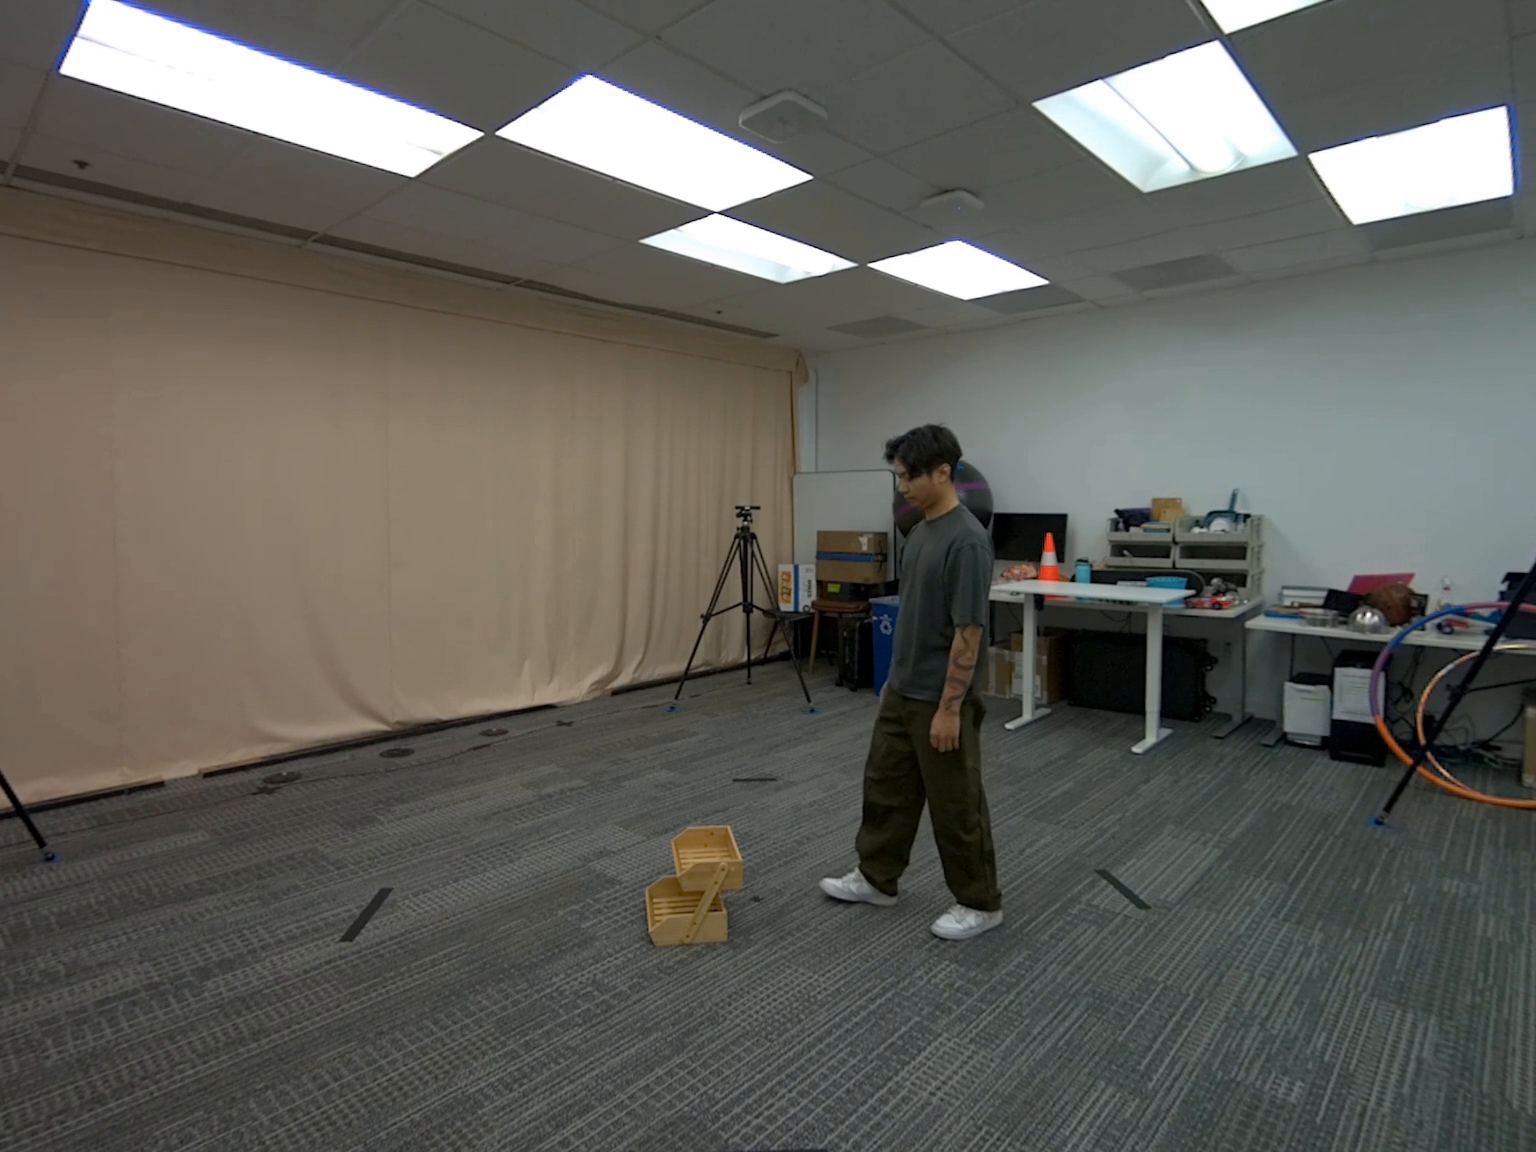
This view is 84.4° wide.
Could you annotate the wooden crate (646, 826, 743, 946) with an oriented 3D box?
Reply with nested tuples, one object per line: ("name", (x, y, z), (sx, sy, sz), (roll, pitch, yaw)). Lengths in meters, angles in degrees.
("wooden crate", (-0.257, 1.024, 2.823), (0.299, 0.273, 0.328), (-1, 4, -10))
